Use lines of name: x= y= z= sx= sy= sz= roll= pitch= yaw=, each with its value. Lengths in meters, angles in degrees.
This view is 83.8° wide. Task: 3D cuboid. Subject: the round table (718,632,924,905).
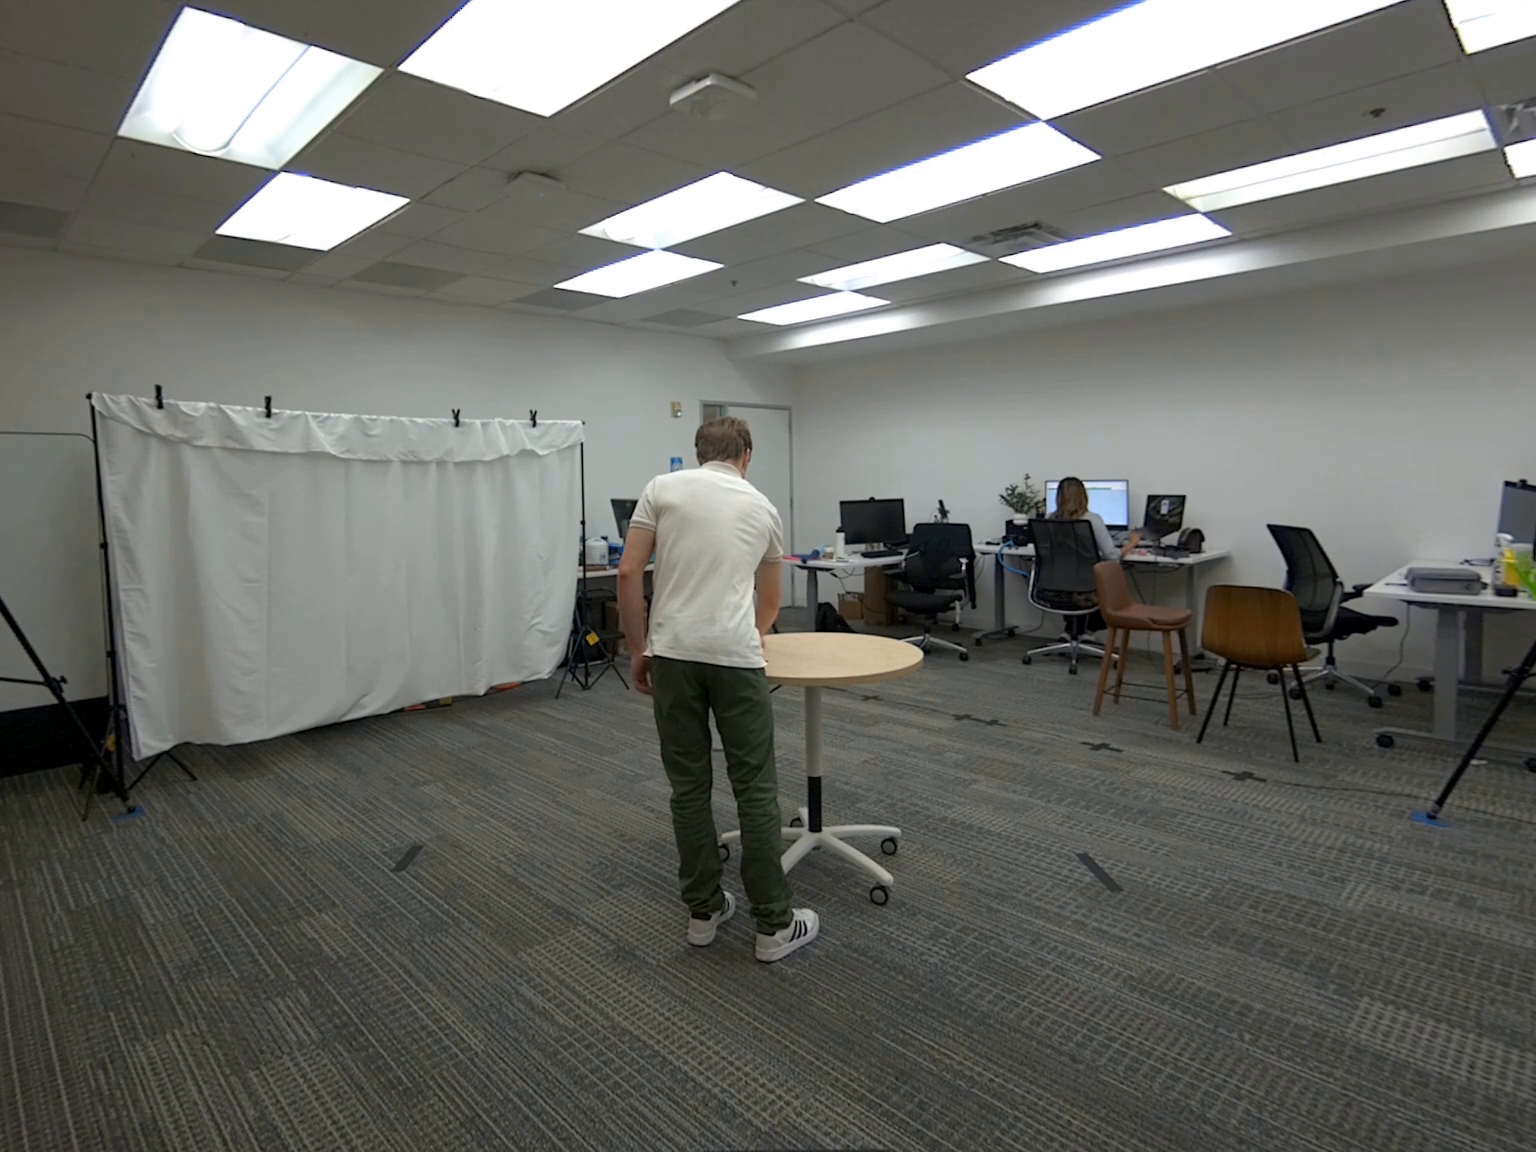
round table: x=0.181 y=0.656 z=3.046 sx=0.784 sy=0.783 sz=0.789 roll=-2 pitch=5 yaw=-2
